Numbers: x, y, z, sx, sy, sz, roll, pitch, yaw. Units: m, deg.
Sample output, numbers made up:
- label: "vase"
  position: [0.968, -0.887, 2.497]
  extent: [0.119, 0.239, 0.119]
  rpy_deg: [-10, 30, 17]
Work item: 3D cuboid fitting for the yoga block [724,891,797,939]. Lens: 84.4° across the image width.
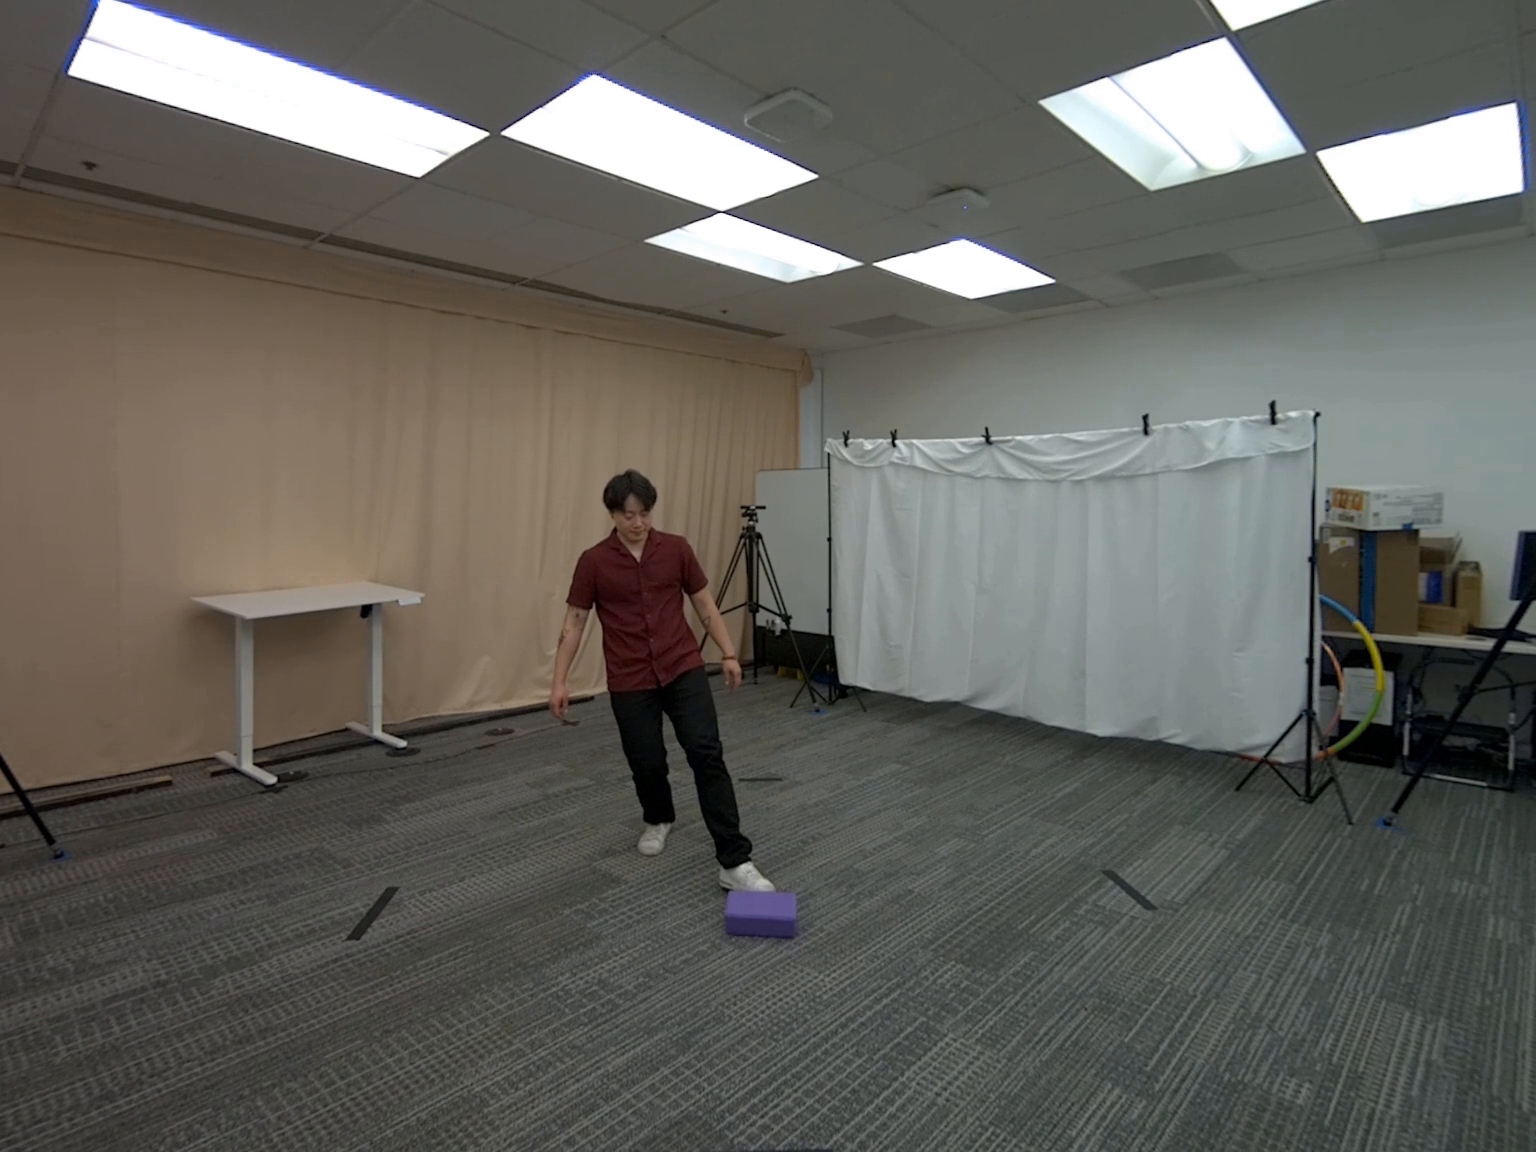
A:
- label: "yoga block"
  position: [-0.017, 1.108, 2.794]
  extent: [0.231, 0.076, 0.148]
  rpy_deg: [2, 7, 6]
